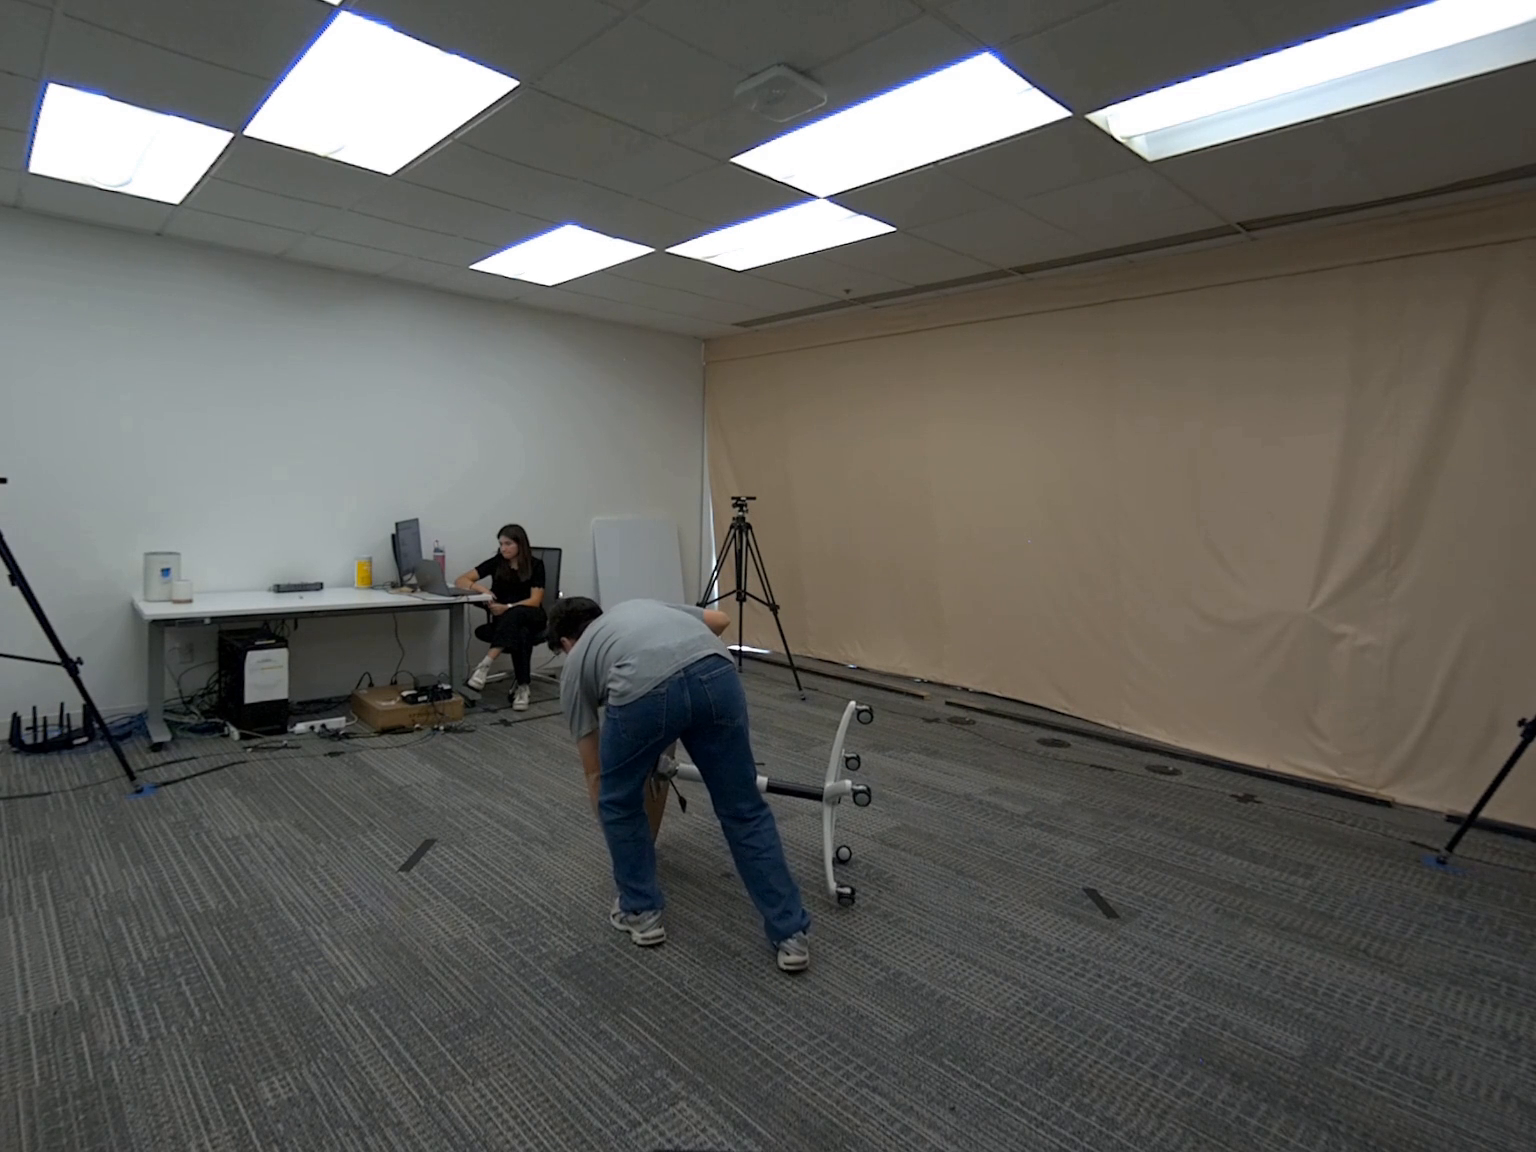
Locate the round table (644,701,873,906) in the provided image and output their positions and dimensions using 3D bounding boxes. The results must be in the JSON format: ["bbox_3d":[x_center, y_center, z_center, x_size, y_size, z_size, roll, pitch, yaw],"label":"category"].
[{"bbox_3d":[-0.050,0.776,3.104,0.798,0.762,0.762,7,5,5],"label":"round table"}]
